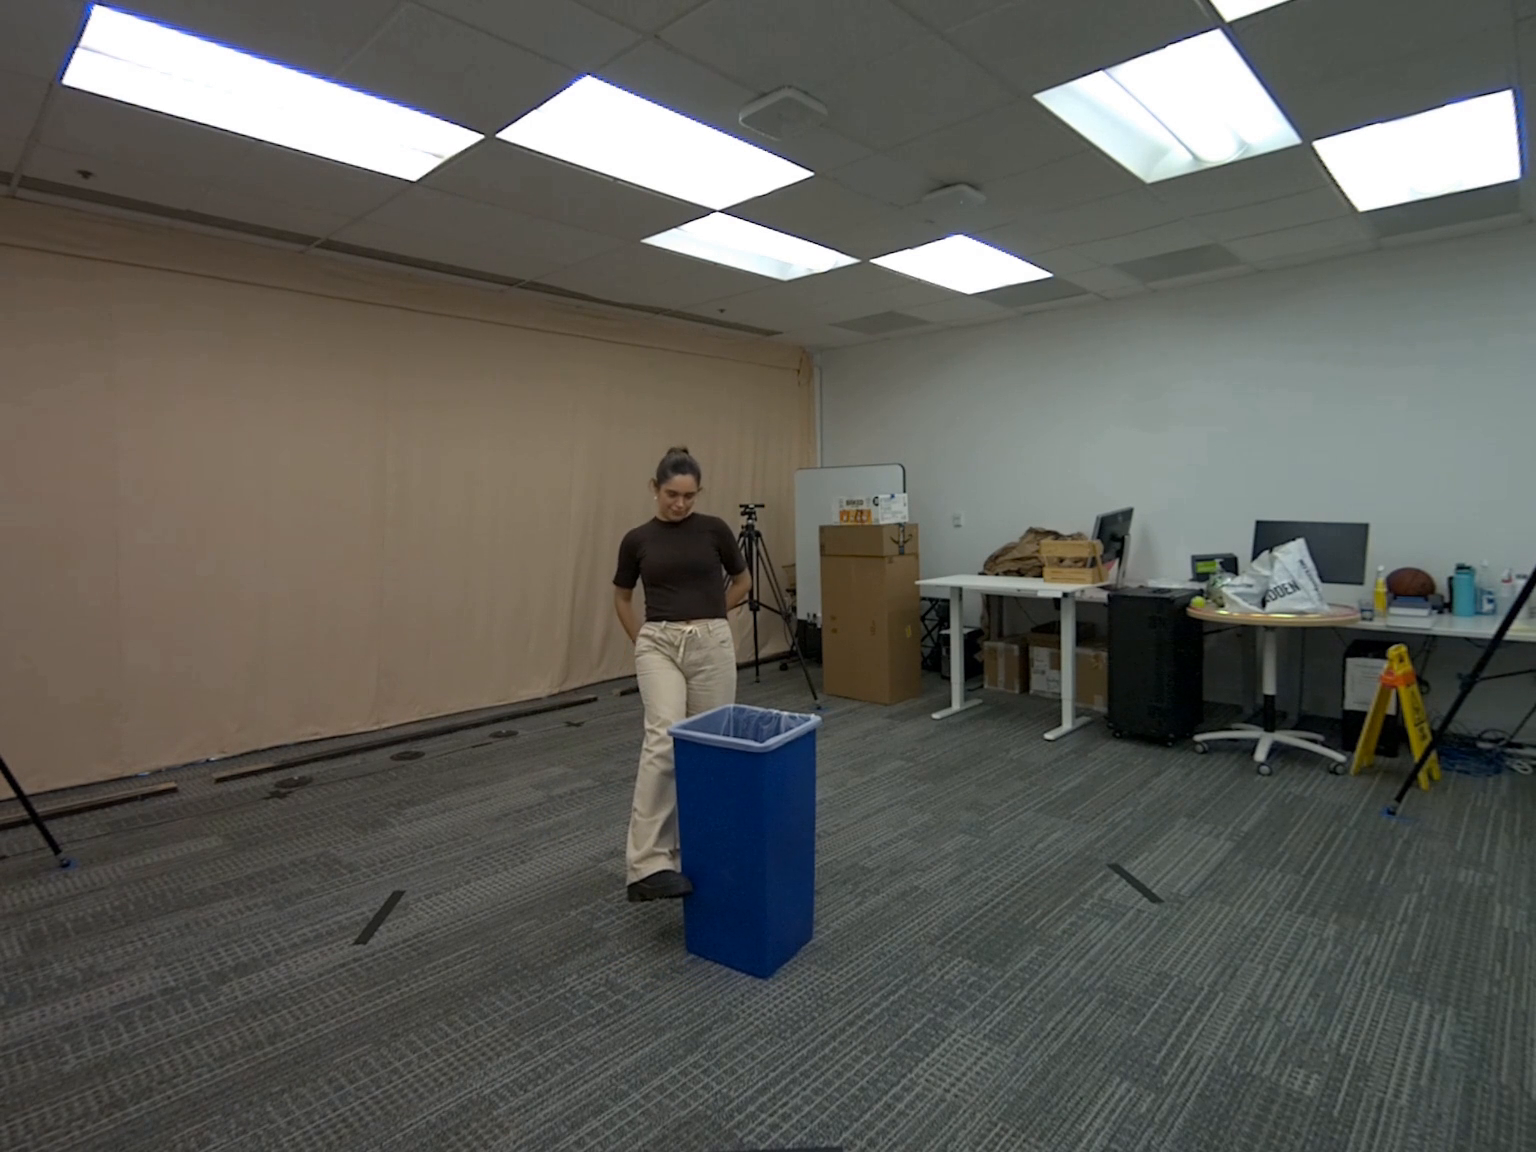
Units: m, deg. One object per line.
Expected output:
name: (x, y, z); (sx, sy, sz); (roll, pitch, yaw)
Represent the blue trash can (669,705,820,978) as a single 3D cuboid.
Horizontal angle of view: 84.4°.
blue trash can: (-0.065, 0.810, 2.645); (0.385, 0.712, 0.368); (2, 5, 33)
